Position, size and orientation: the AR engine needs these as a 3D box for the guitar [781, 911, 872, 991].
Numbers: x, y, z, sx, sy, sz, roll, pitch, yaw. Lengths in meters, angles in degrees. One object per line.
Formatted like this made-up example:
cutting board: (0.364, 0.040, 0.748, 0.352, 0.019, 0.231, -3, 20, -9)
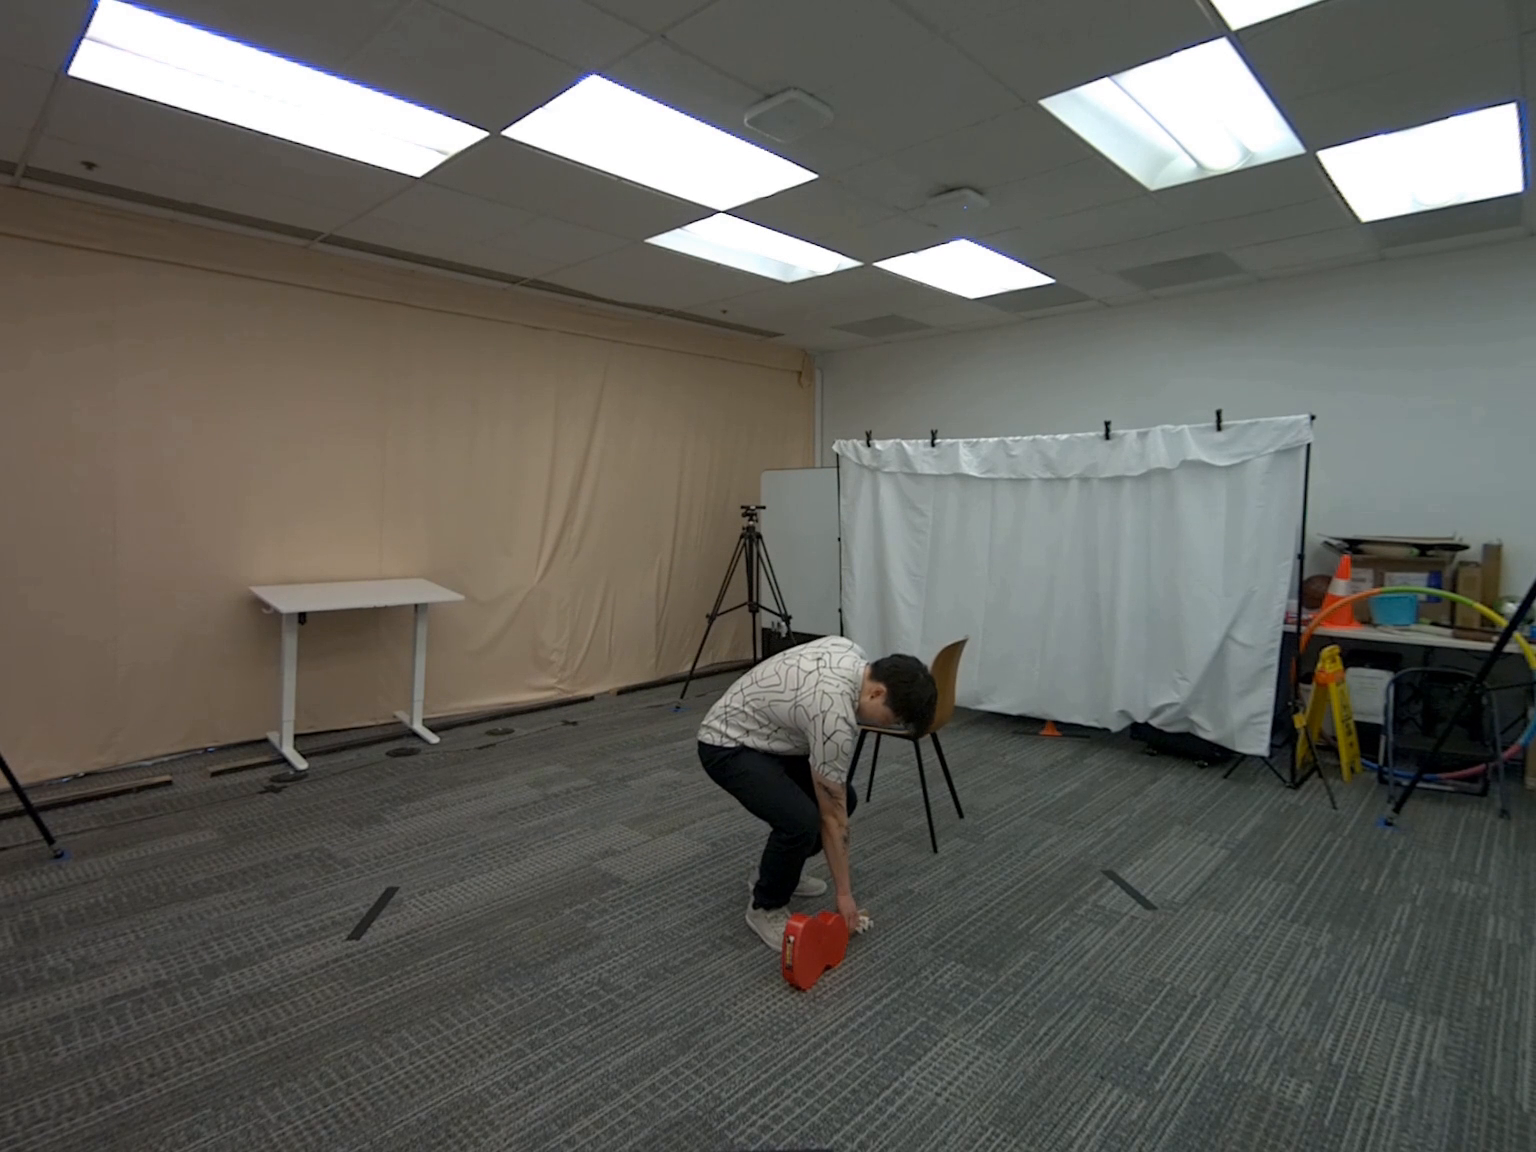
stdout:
guitar: (0.204, 1.078, 2.600, 0.073, 0.193, 0.483, -4, 0, 38)
